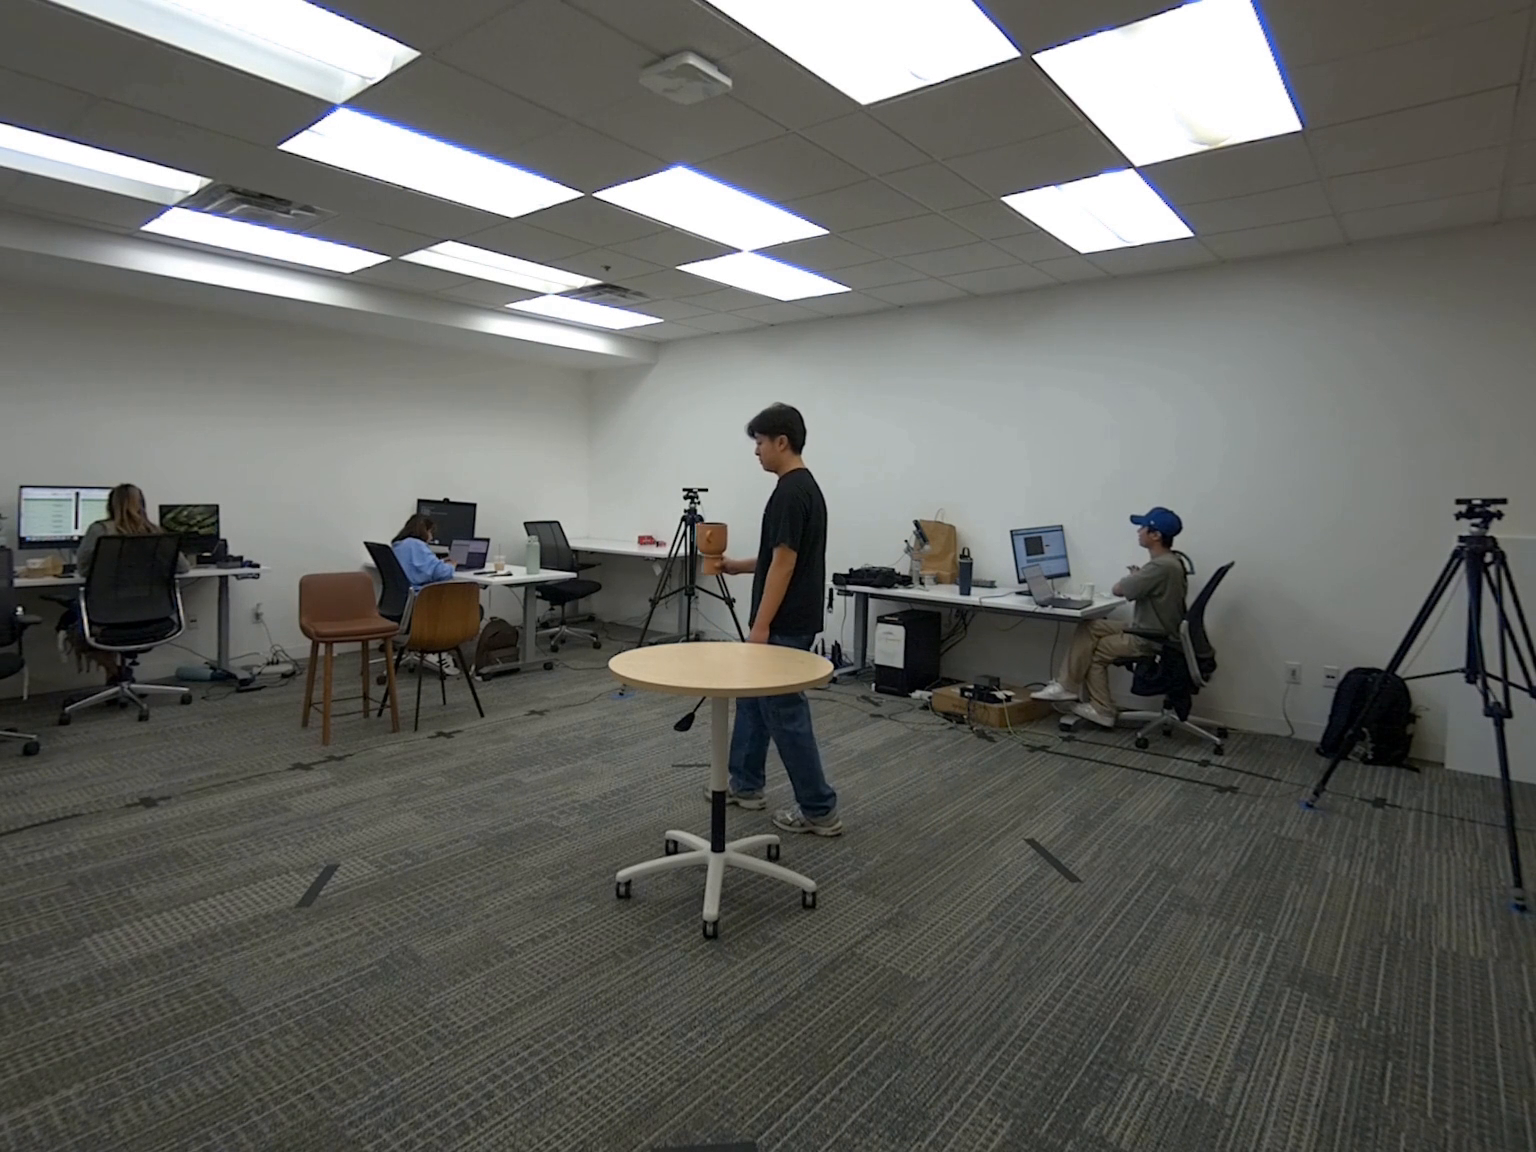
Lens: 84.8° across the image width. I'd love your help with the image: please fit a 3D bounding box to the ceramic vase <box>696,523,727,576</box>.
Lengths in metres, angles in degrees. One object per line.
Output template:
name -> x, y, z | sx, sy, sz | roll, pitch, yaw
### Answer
ceramic vase -> -0.252, -0.127, 3.747 | 0.154, 0.218, 0.139 | -6, 11, -42
